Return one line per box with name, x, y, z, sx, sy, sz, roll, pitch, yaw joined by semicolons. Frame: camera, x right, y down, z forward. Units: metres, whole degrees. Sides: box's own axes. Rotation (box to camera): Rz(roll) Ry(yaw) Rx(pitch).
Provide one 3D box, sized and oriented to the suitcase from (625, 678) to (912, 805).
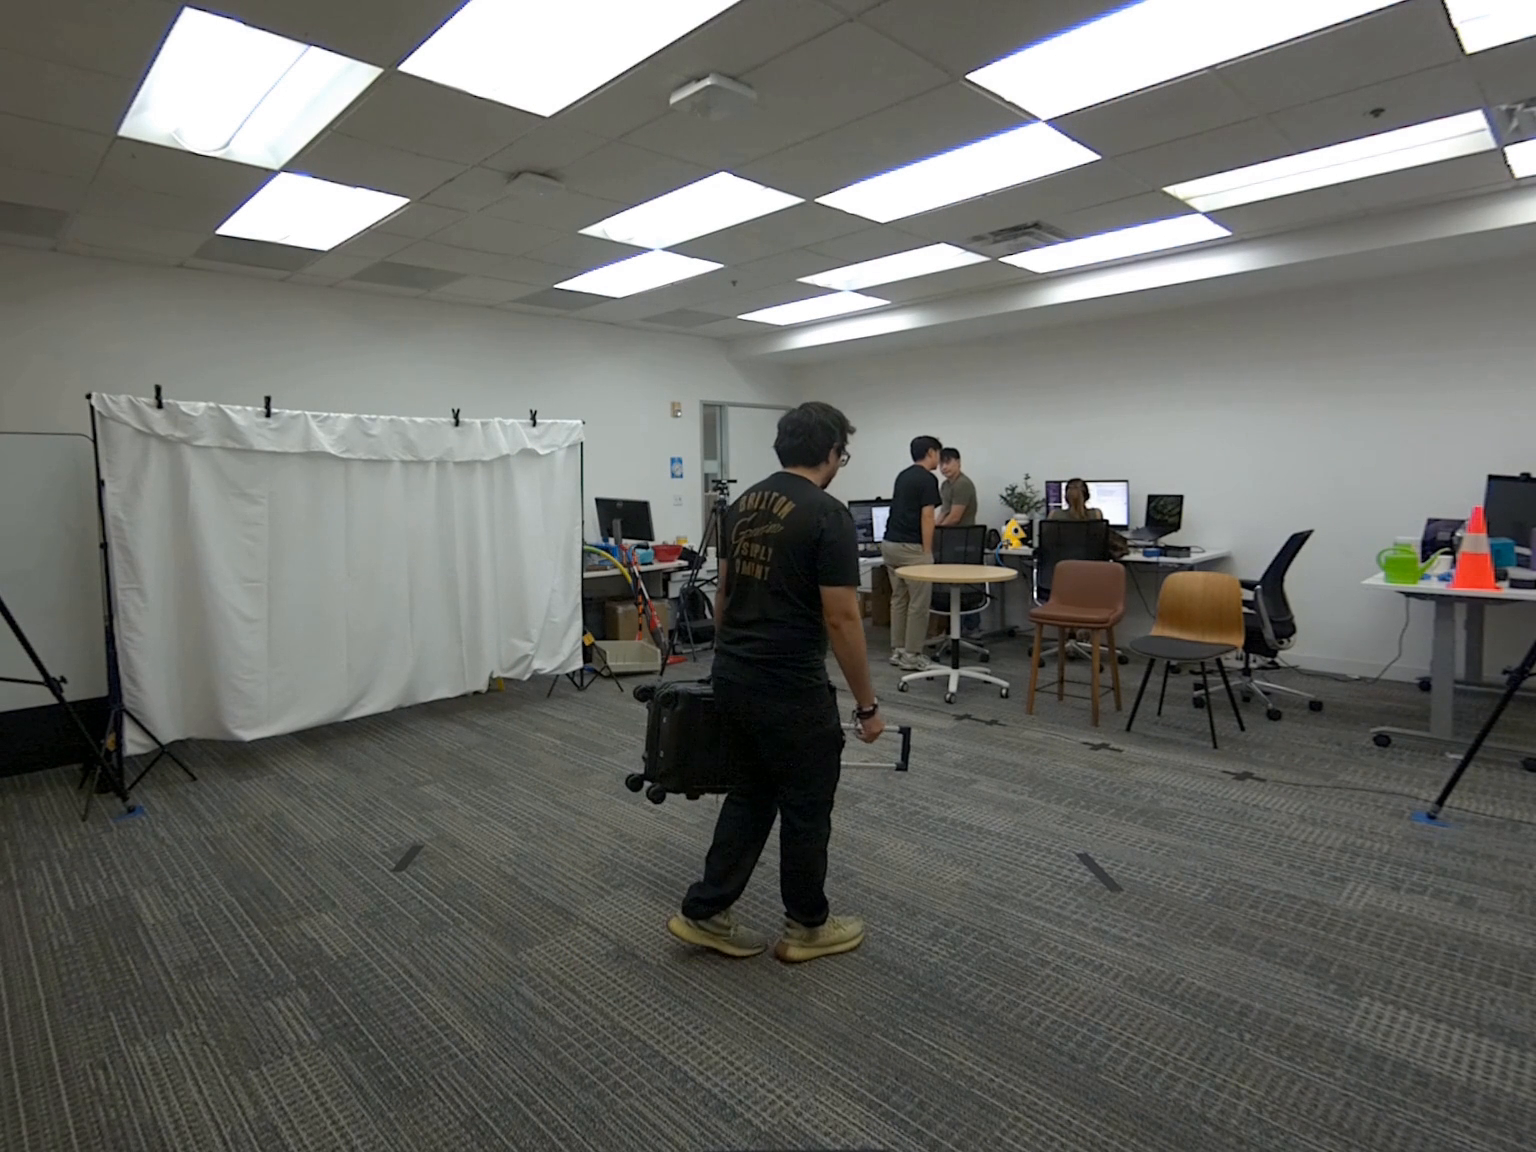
suitcase;0.020;0.560;2.952;0.954;0.386;0.262;7;-7;-26
